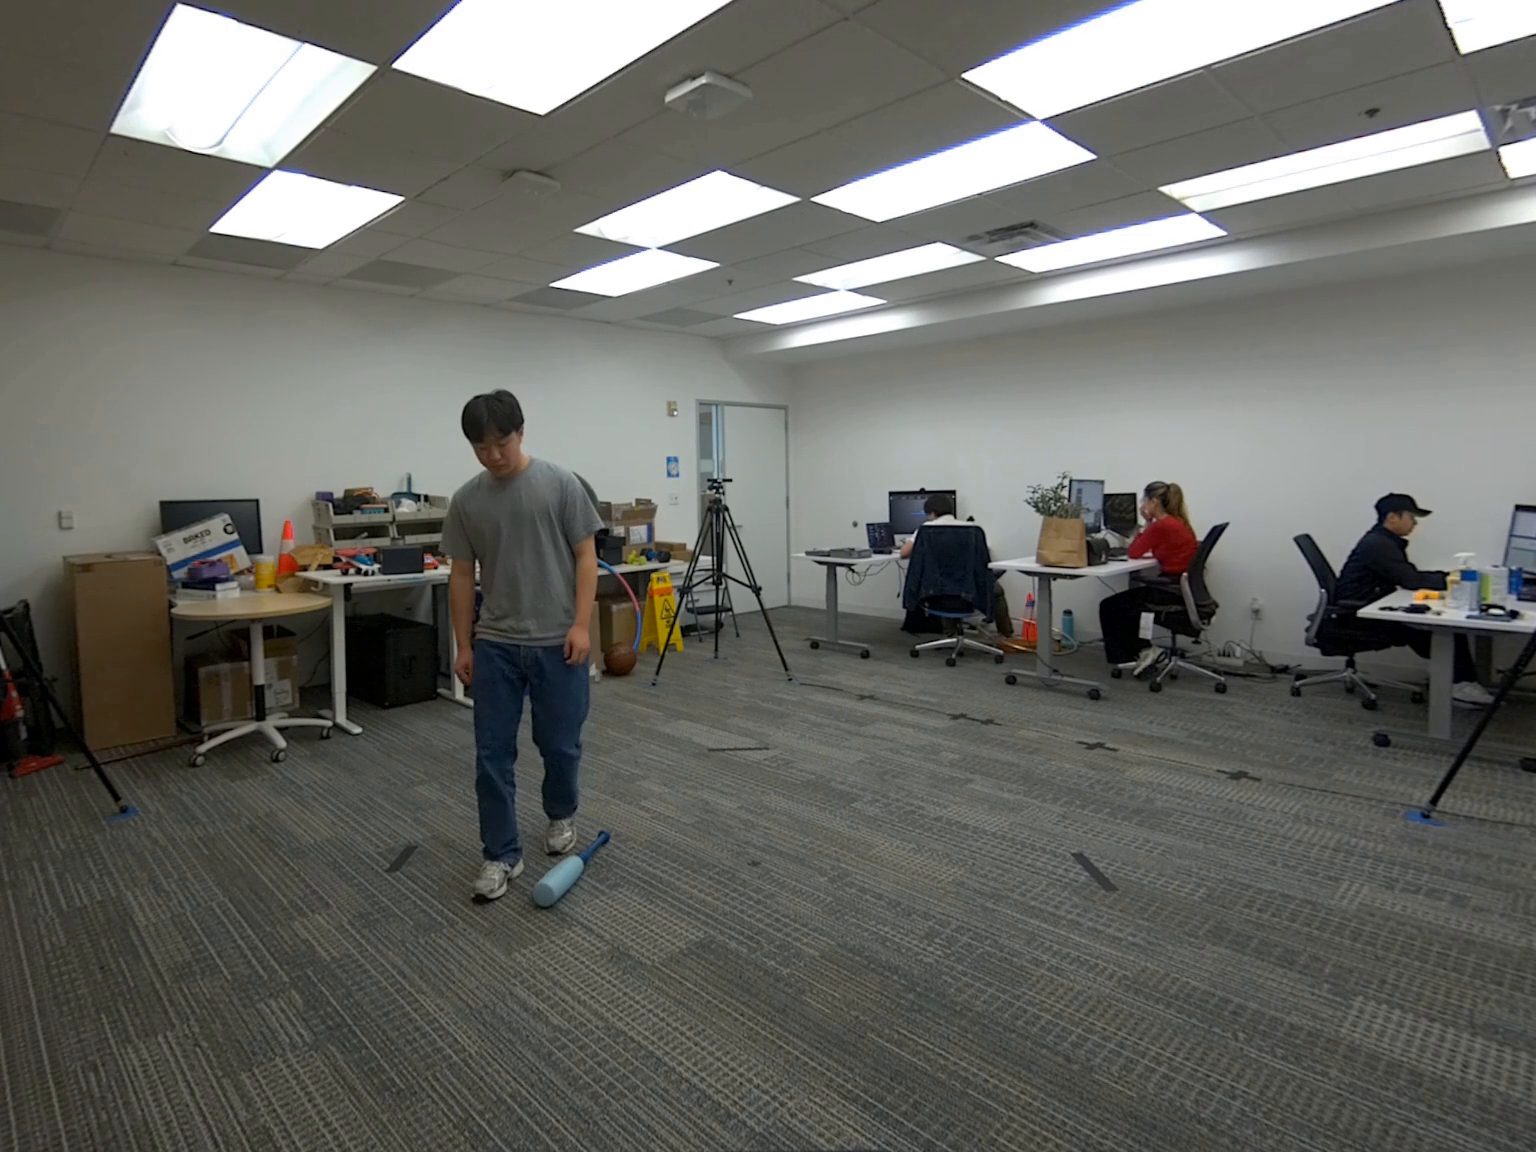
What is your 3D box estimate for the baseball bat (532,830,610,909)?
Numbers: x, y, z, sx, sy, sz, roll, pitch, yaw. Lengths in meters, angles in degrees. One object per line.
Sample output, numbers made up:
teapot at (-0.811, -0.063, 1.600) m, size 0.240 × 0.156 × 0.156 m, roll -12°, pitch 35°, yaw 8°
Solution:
baseball bat at (-0.683, 1.026, 3.049) m, size 0.090 × 0.089 × 0.538 m, roll 0°, pitch 4°, yaw 10°
